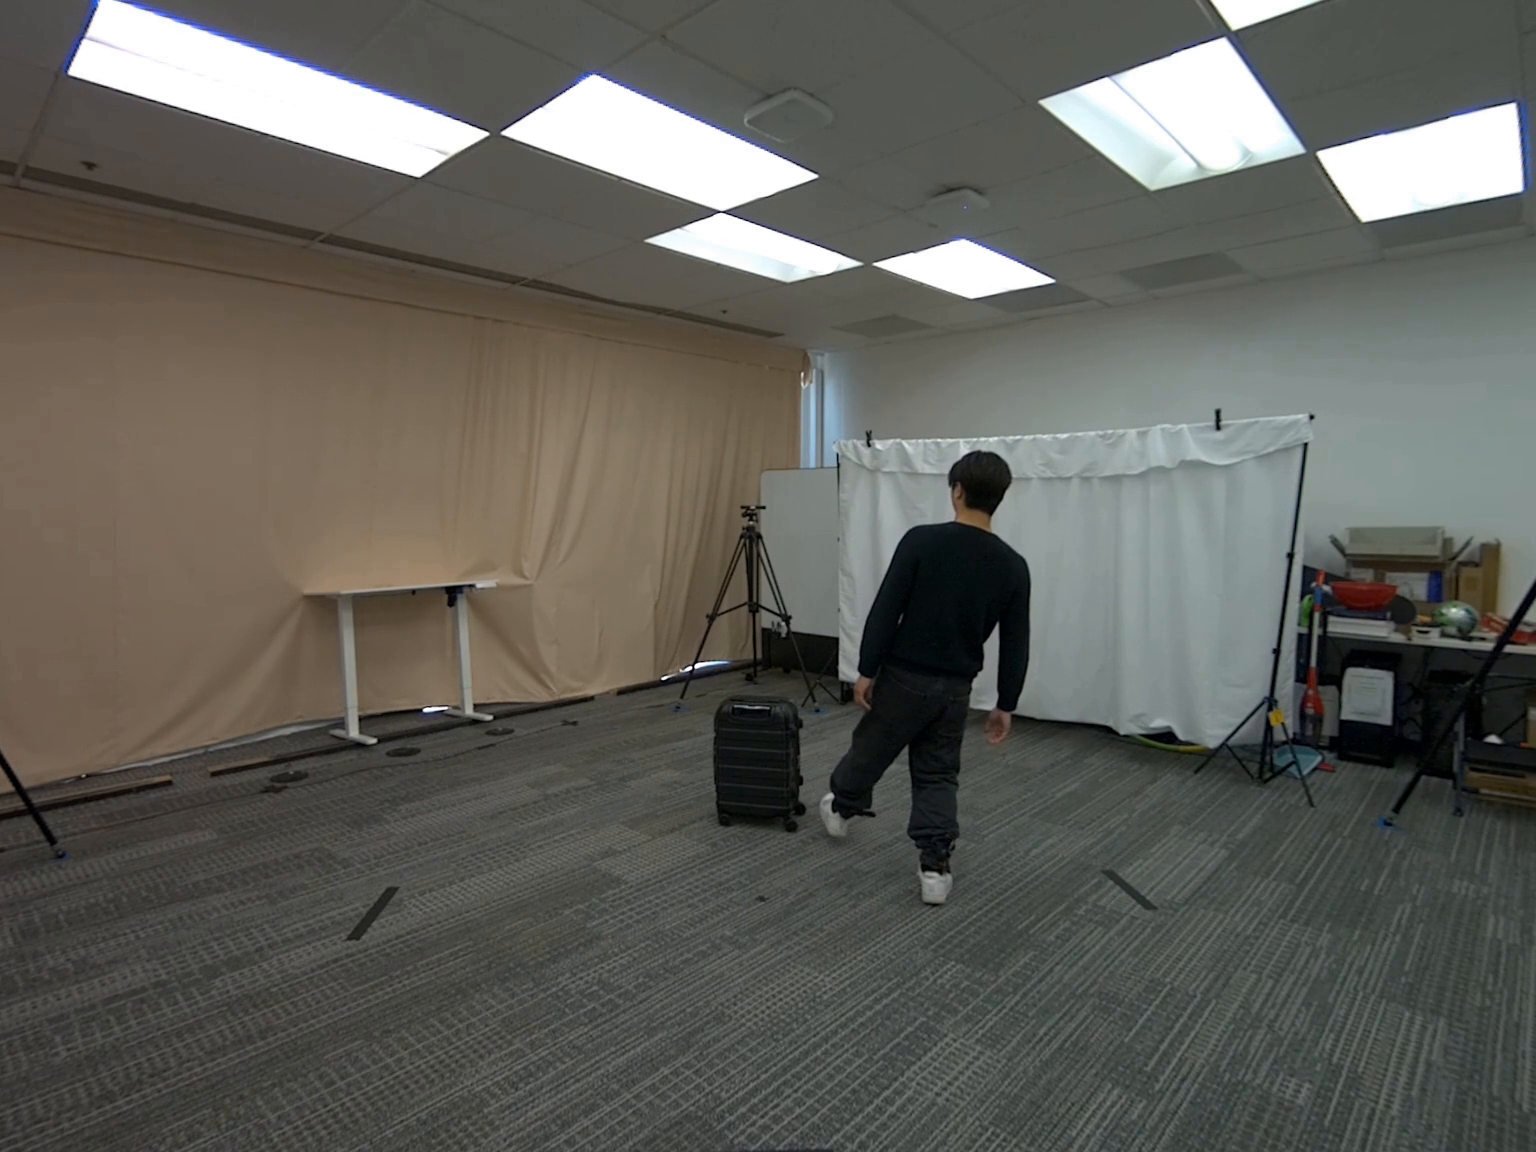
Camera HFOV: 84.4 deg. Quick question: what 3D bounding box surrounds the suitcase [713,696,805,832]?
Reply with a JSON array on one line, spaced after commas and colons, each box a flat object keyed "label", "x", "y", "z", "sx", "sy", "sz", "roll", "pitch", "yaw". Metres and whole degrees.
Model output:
[{"label": "suitcase", "x": -0.041, "y": 0.806, "z": 3.740, "sx": 0.381, "sy": 0.548, "sz": 0.245, "roll": -1, "pitch": 3, "yaw": 15}]
